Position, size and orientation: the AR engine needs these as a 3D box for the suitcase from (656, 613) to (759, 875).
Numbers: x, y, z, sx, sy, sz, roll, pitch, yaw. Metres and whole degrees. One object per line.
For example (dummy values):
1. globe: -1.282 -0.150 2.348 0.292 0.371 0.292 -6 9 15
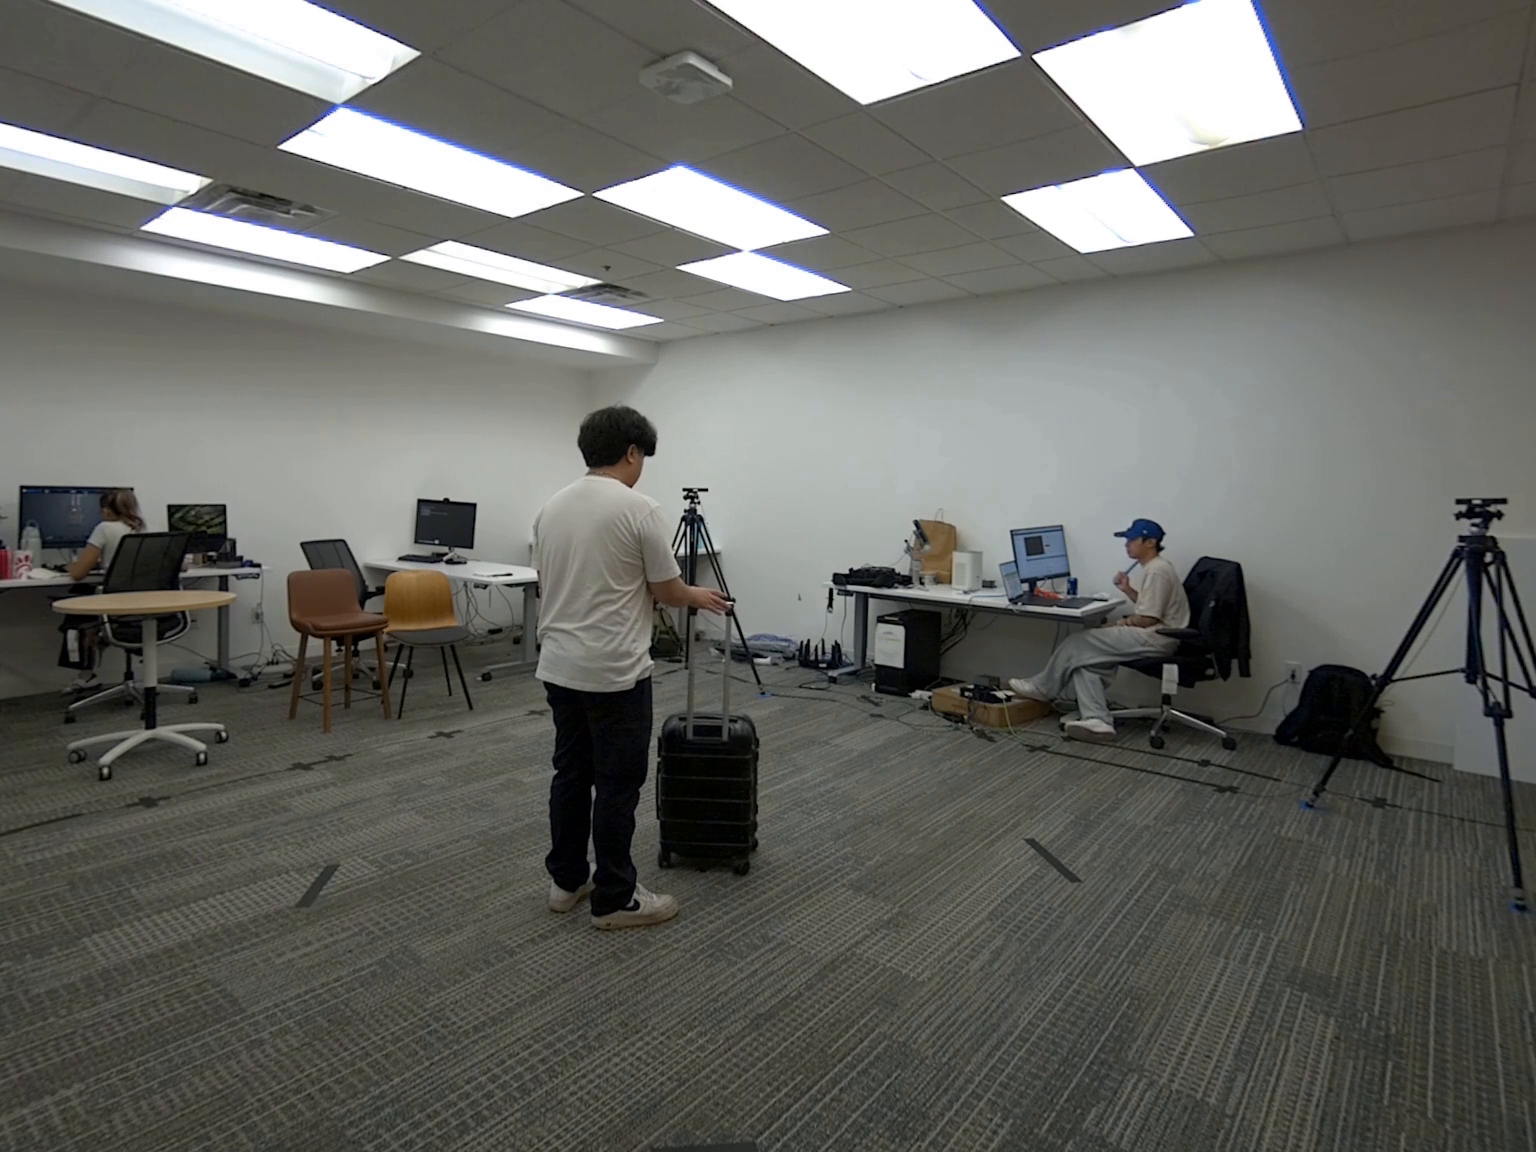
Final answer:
1. suitcase: -0.229 0.587 3.193 0.386 0.978 0.256 2 1 4
